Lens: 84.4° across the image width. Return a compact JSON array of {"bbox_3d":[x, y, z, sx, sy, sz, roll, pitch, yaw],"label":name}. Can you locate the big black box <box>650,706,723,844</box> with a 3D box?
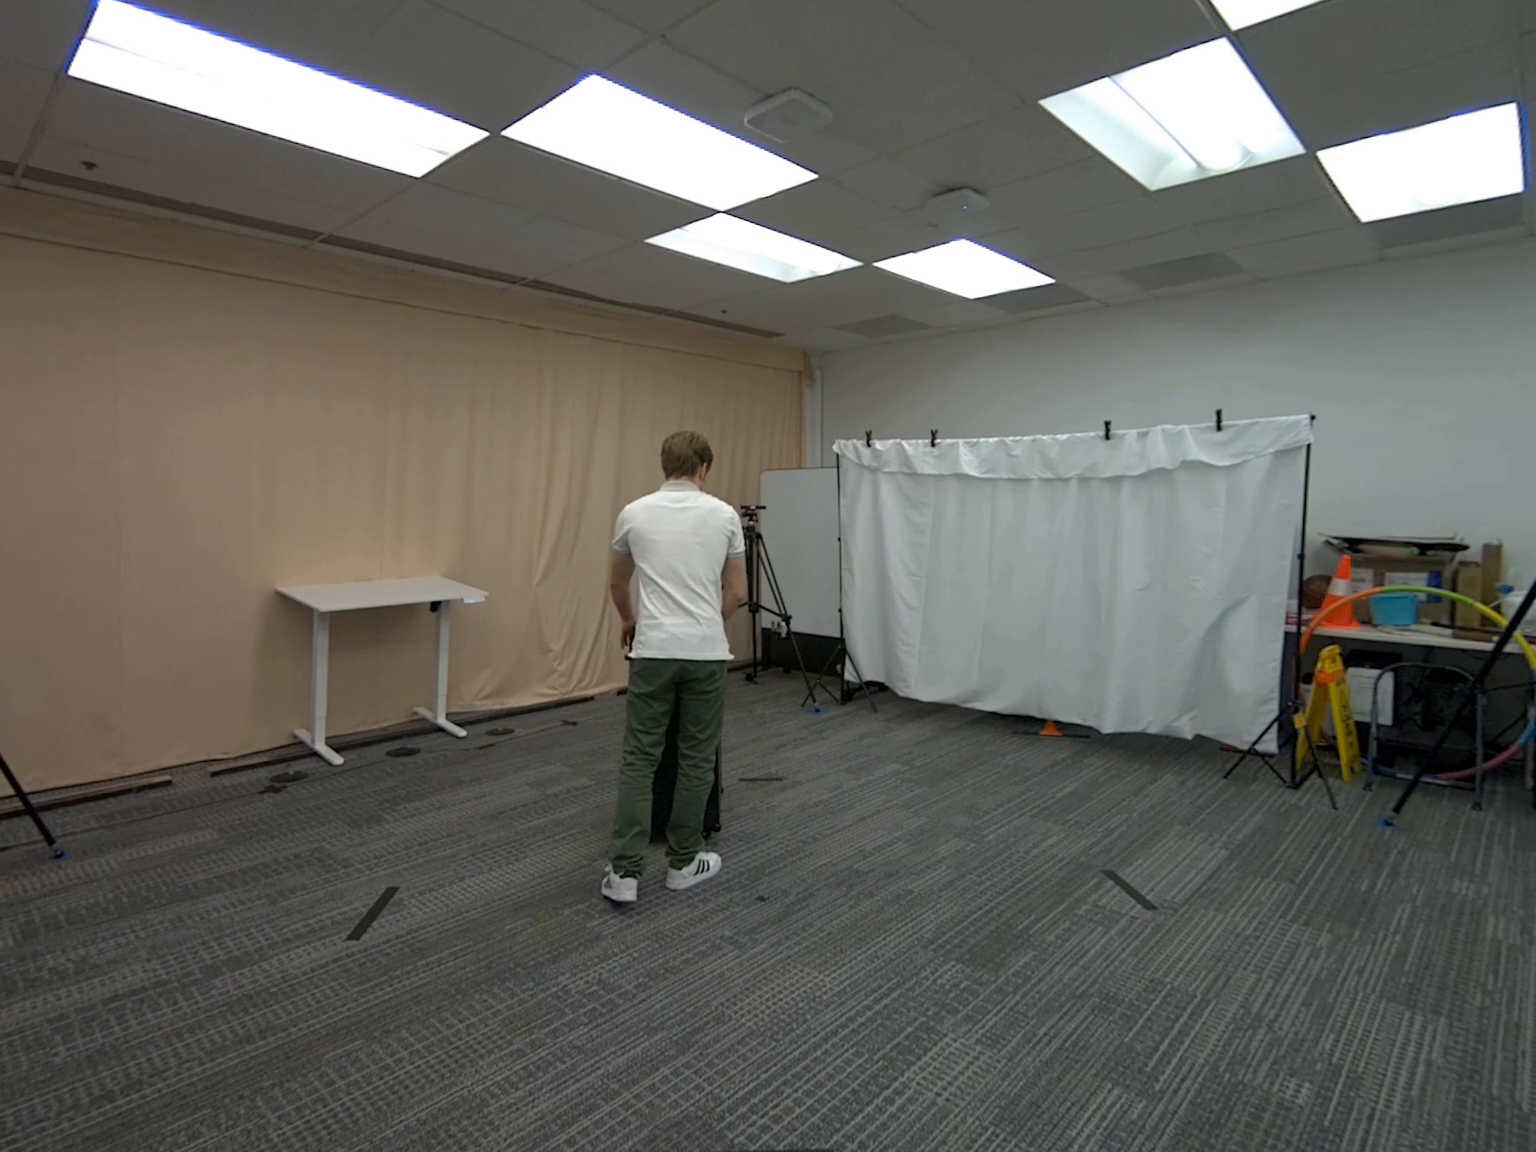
[{"bbox_3d":[-0.387,0.665,3.643,0.385,0.867,0.525,0,3,-3],"label":"big black box"}]
